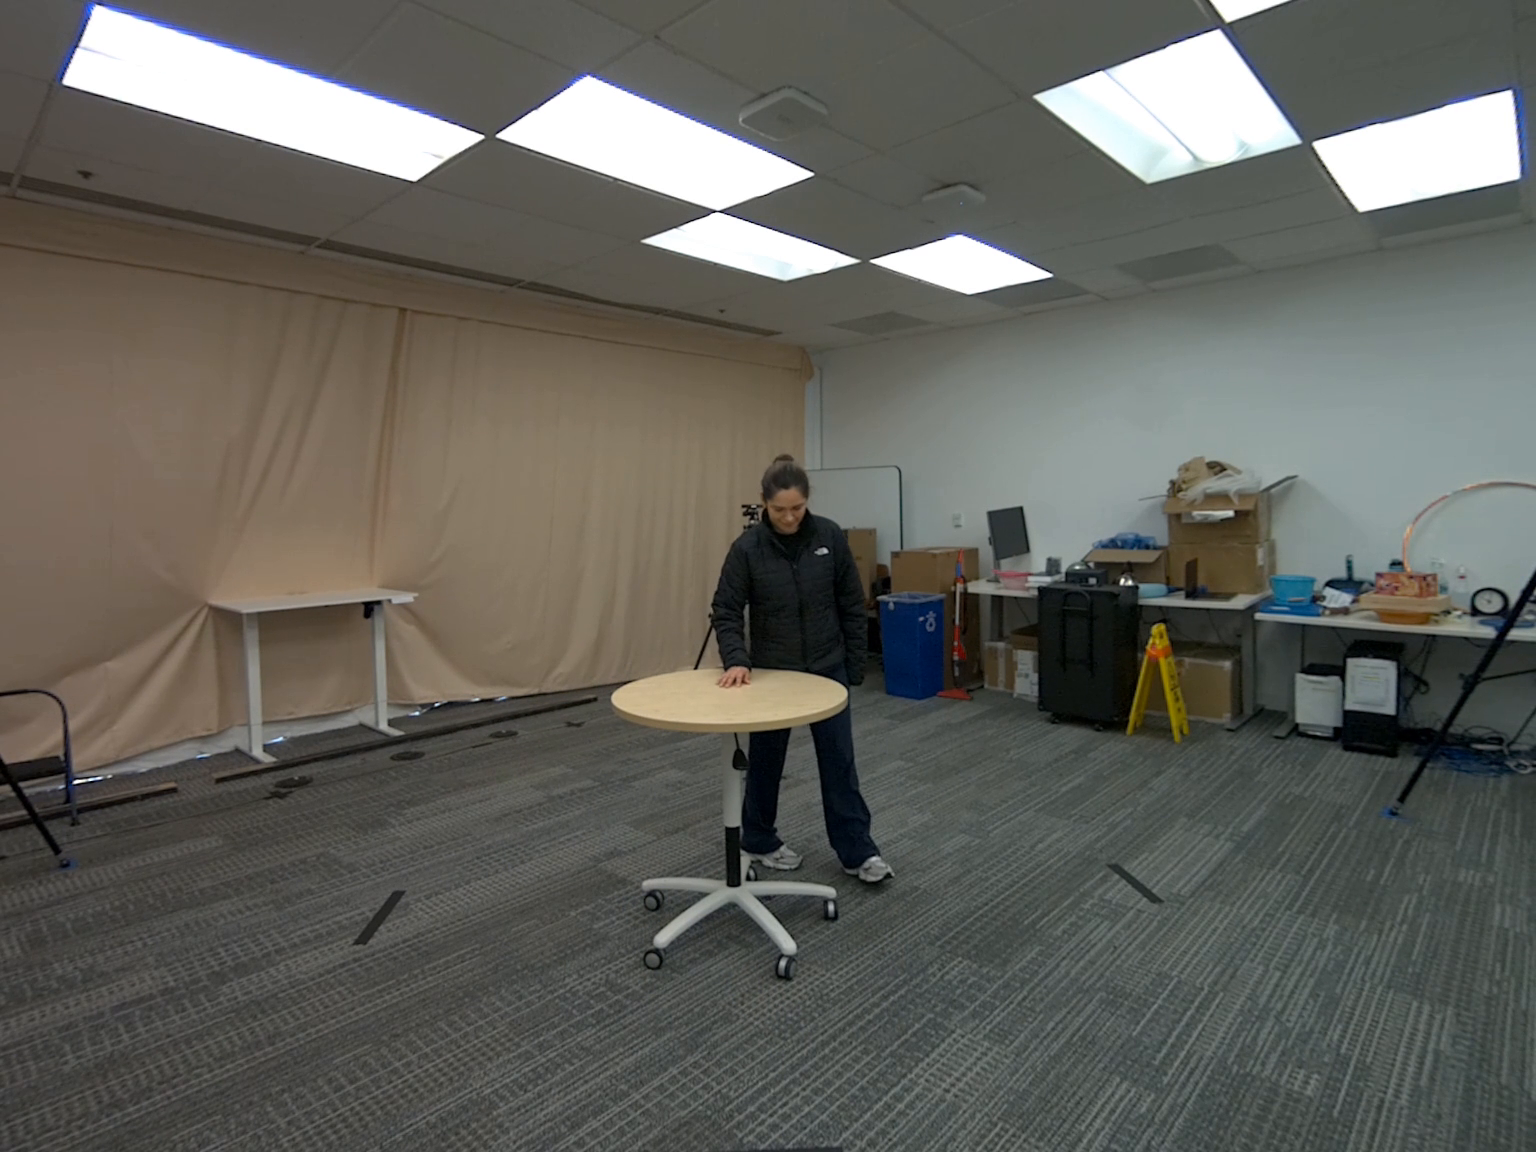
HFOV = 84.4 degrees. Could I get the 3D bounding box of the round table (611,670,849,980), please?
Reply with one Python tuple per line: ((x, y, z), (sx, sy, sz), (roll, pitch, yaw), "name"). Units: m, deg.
((-0.112, 0.768, 2.776), (0.784, 0.785, 0.788), (-1, 4, -2), "round table")
